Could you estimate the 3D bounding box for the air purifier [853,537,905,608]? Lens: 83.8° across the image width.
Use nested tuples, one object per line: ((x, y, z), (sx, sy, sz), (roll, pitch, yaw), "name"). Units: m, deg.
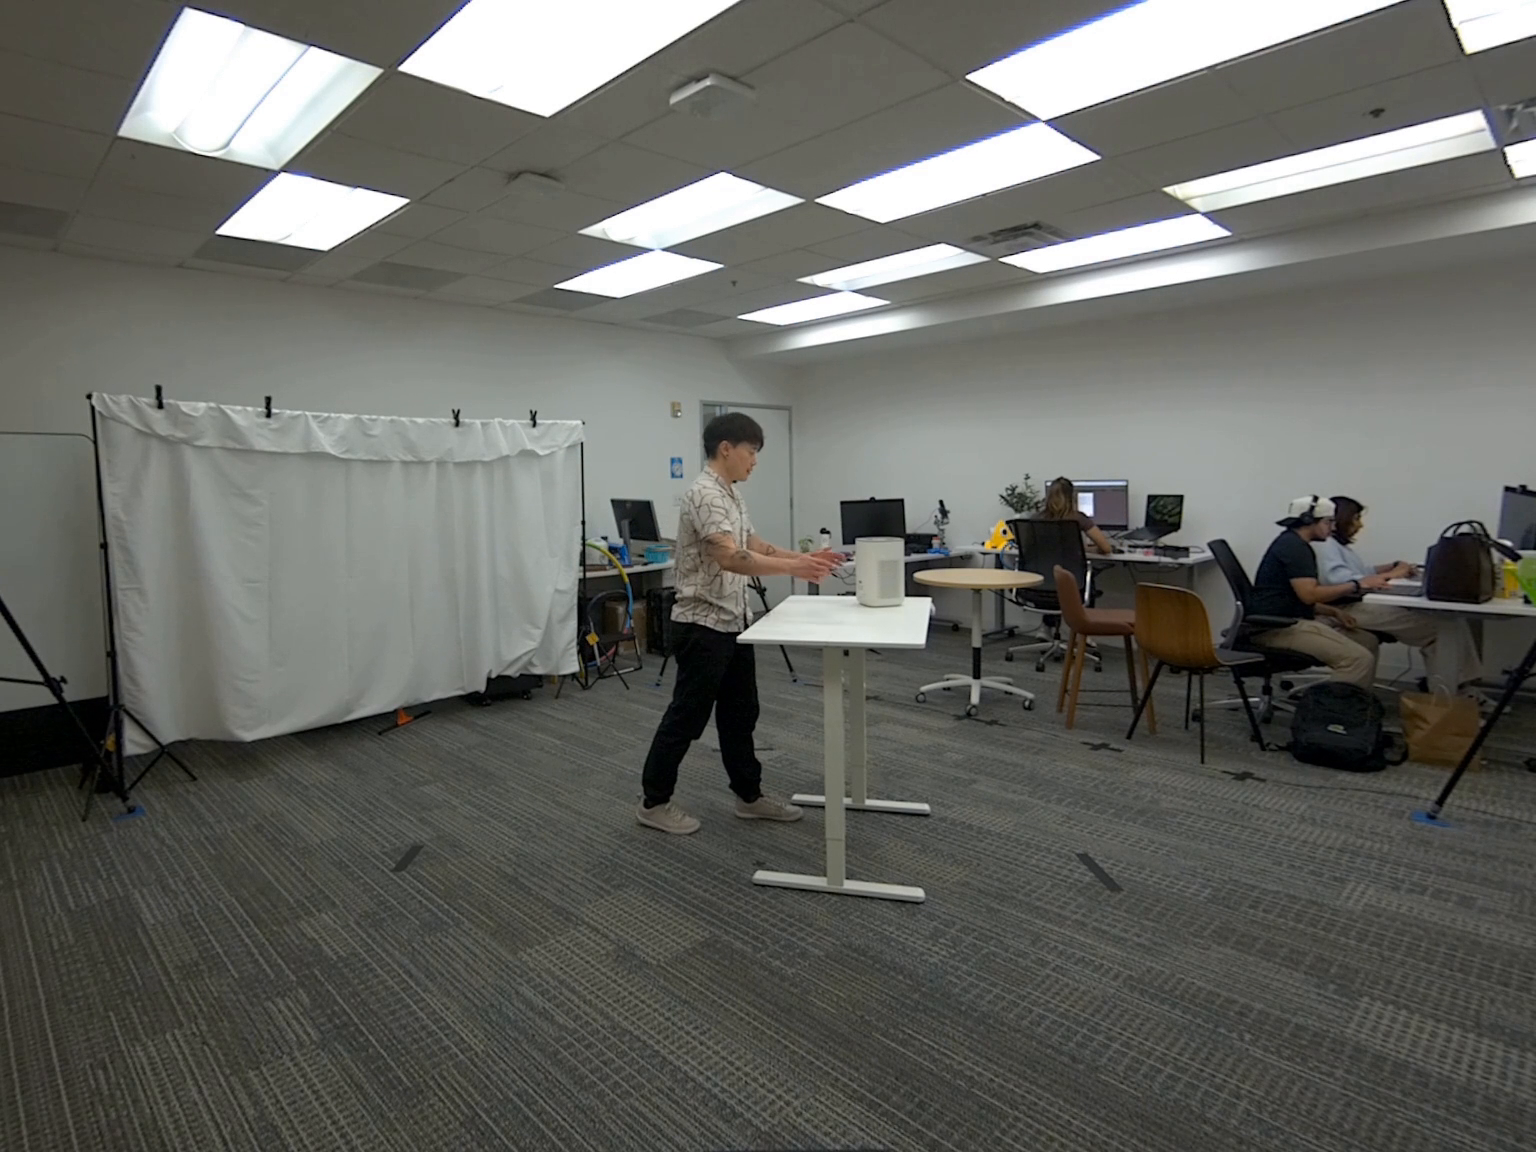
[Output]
((0.447, -0.014, 3.434), (0.169, 0.264, 0.174), (-2, 6, -14), "air purifier")
